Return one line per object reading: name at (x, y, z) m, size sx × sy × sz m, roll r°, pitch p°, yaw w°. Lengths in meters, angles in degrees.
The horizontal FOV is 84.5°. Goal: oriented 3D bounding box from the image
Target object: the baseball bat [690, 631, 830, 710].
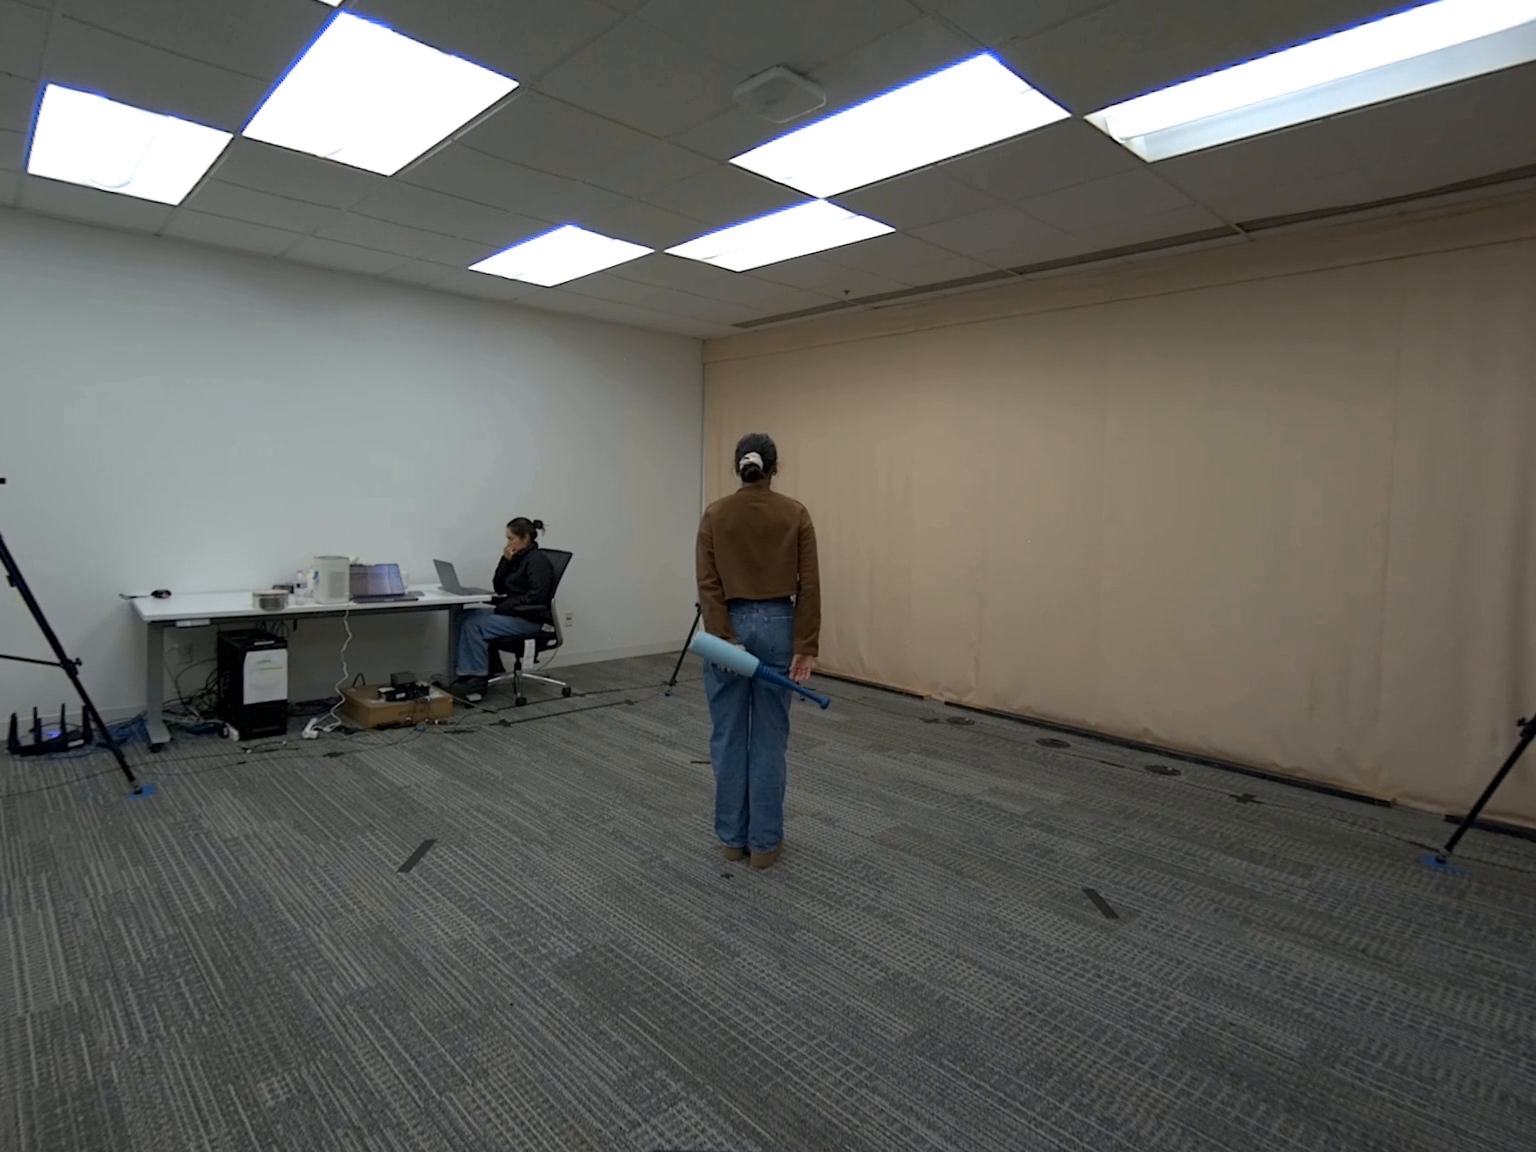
baseball bat at (-0.037, 0.351, 3.049) m, size 0.546 × 0.089 × 0.089 m, roll 25°, pitch 6°, yaw 5°
